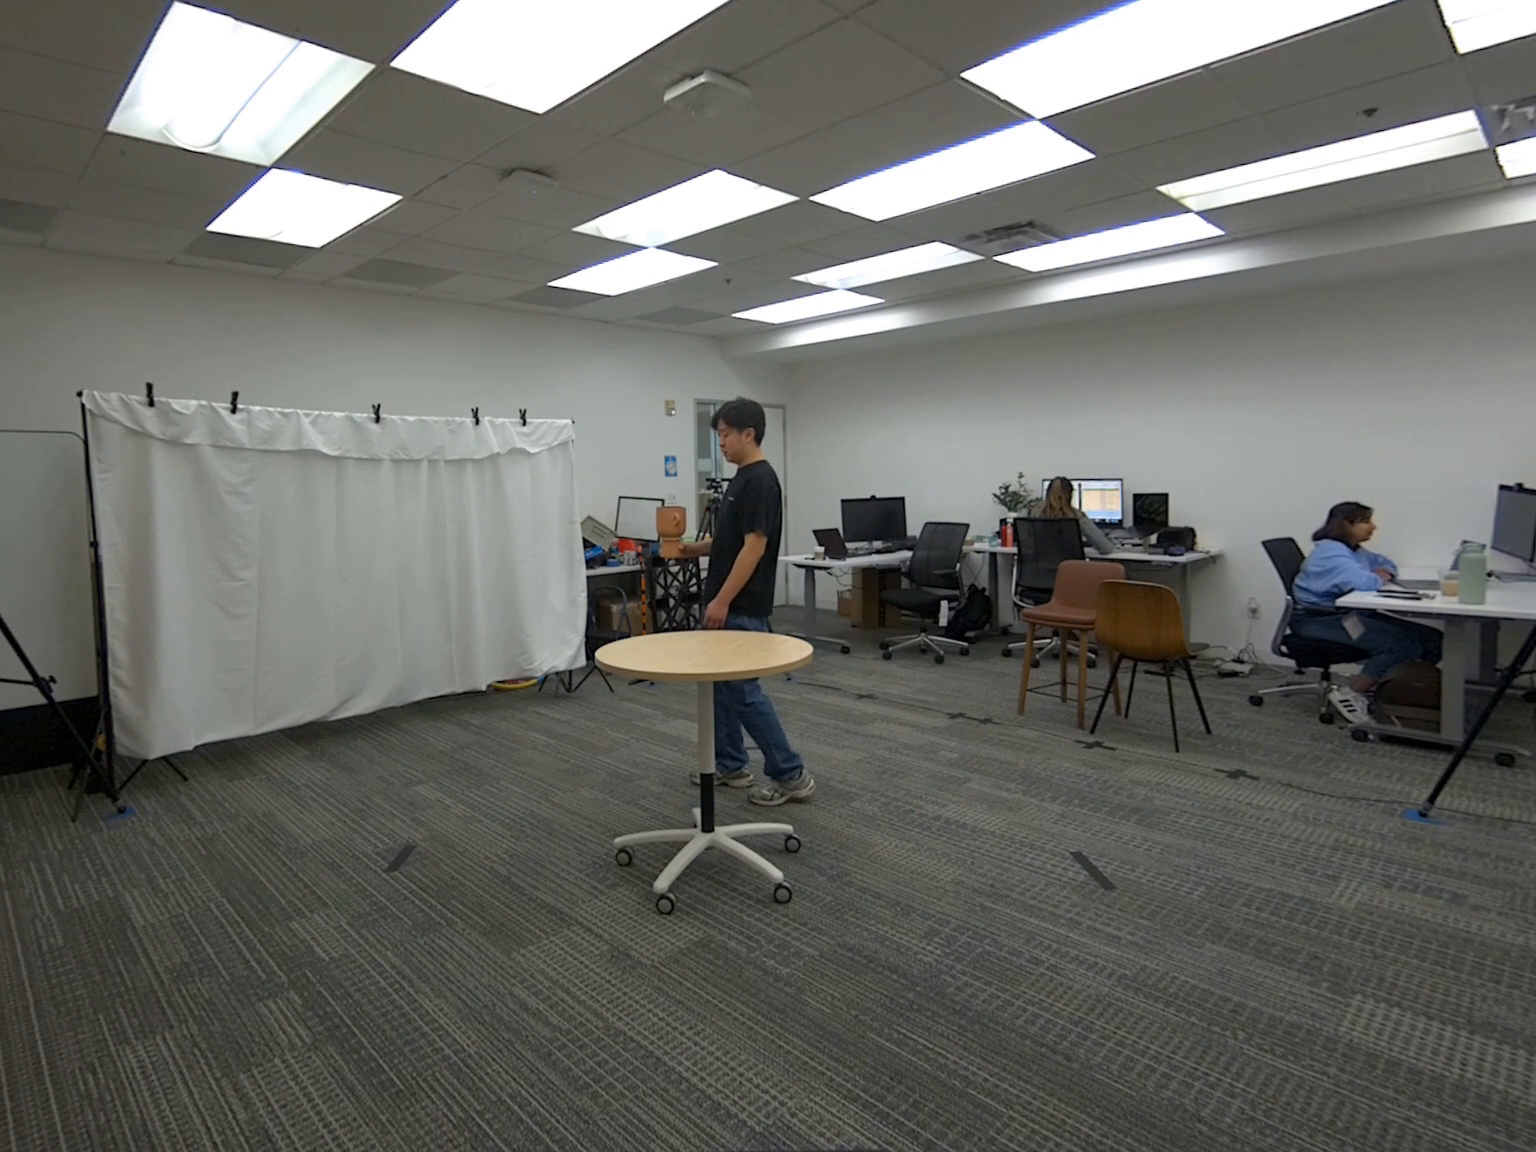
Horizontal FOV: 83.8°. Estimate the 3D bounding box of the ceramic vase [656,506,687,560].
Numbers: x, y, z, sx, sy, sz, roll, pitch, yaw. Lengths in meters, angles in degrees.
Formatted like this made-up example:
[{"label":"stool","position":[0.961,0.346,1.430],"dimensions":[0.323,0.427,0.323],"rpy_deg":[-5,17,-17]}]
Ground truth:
[{"label":"ceramic vase","position":[-0.419,-0.197,3.781],"dimensions":[0.137,0.218,0.157],"rpy_deg":[3,8,19]}]
